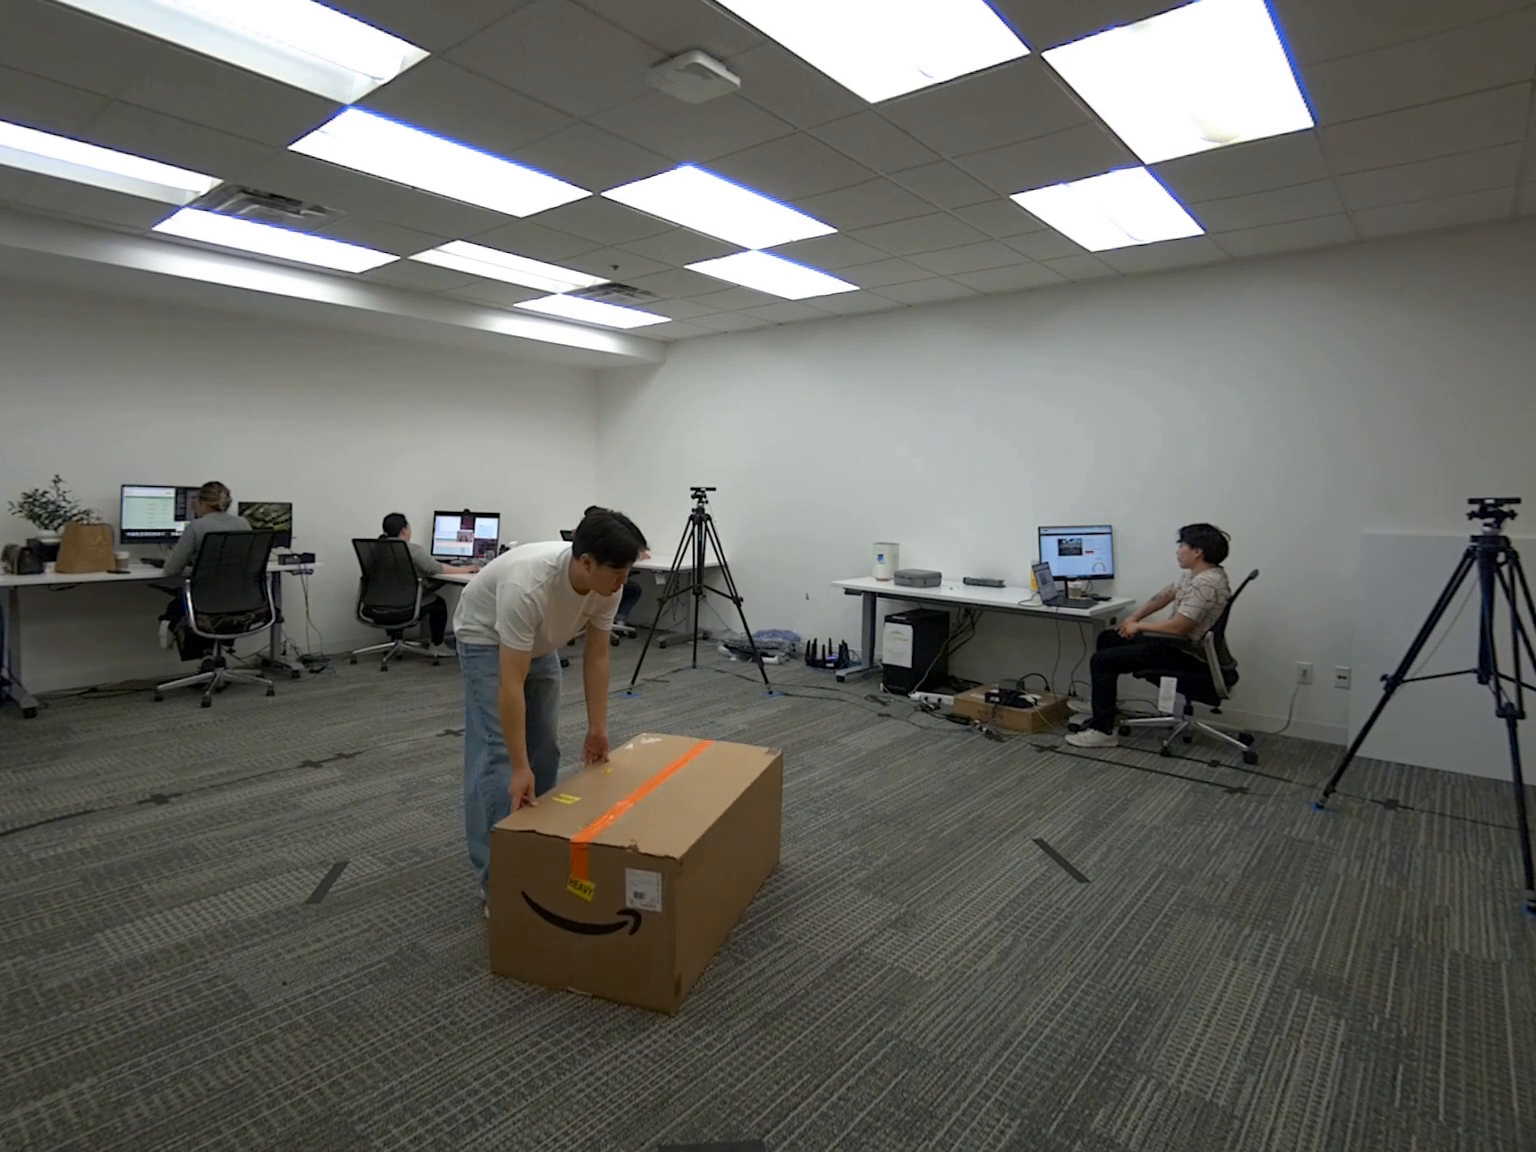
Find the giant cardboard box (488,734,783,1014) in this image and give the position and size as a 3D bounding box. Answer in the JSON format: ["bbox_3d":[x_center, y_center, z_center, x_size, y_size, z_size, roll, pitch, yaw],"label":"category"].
[{"bbox_3d":[-0.377,0.880,2.784,0.589,0.425,1.010,1,5,17],"label":"giant cardboard box"}]
